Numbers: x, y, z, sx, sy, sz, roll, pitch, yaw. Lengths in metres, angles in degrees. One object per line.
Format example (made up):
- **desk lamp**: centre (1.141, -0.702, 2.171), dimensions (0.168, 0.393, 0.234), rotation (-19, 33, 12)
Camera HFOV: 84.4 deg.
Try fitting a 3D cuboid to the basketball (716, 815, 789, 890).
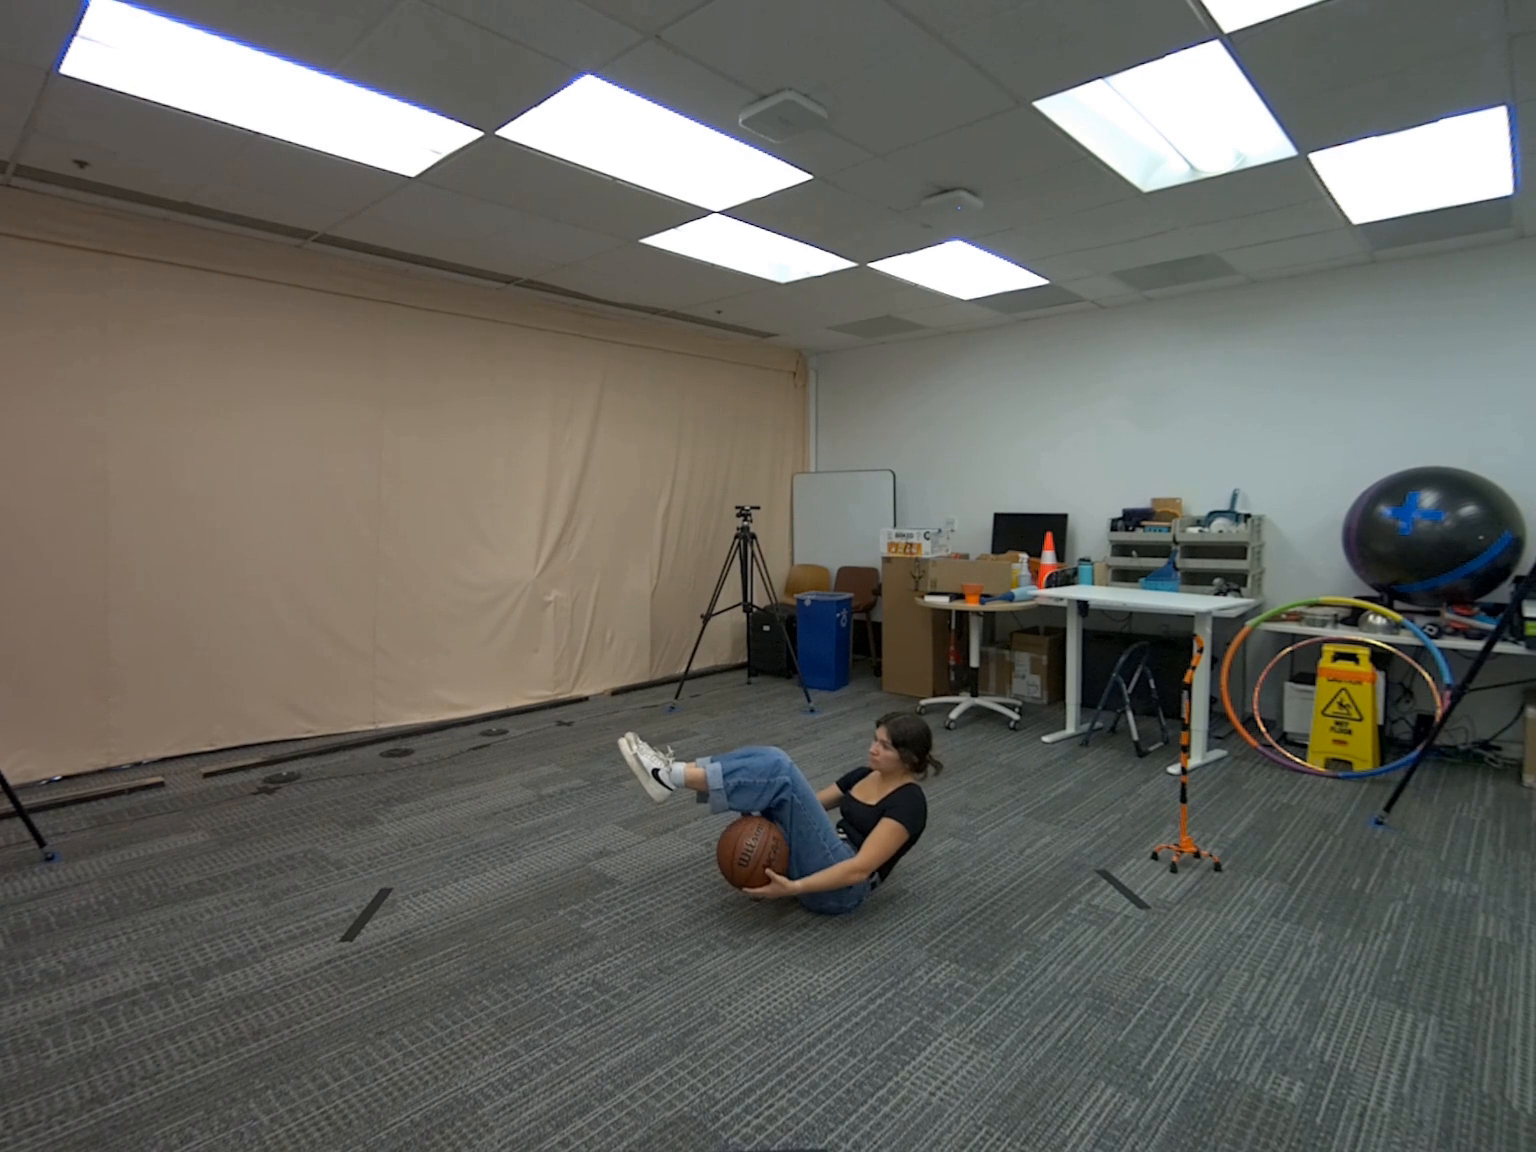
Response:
- **basketball**: centre (-0.050, 0.918, 2.813), dimensions (0.236, 0.235, 0.237), rotation (0, 4, -2)
